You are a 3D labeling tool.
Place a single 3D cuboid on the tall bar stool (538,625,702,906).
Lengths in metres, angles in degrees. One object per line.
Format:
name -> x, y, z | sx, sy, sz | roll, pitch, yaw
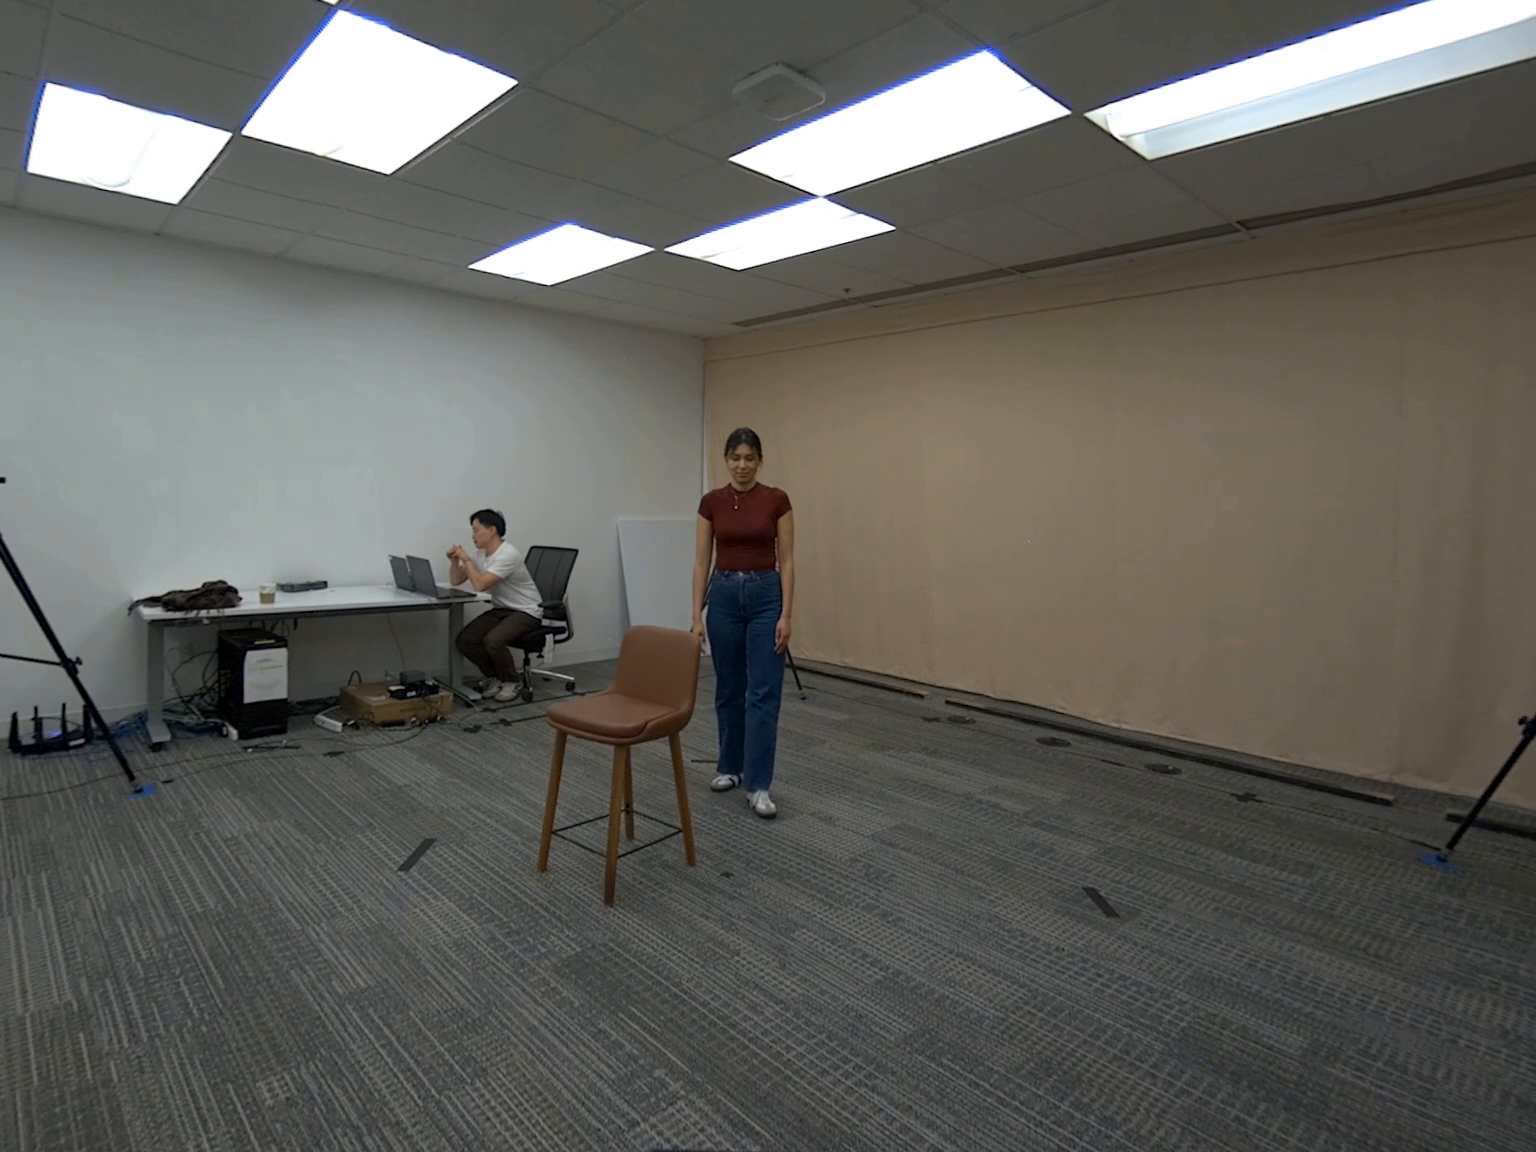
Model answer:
tall bar stool -> -0.546, 0.658, 3.117 | 0.468, 0.888, 0.456 | 4, 3, 40
